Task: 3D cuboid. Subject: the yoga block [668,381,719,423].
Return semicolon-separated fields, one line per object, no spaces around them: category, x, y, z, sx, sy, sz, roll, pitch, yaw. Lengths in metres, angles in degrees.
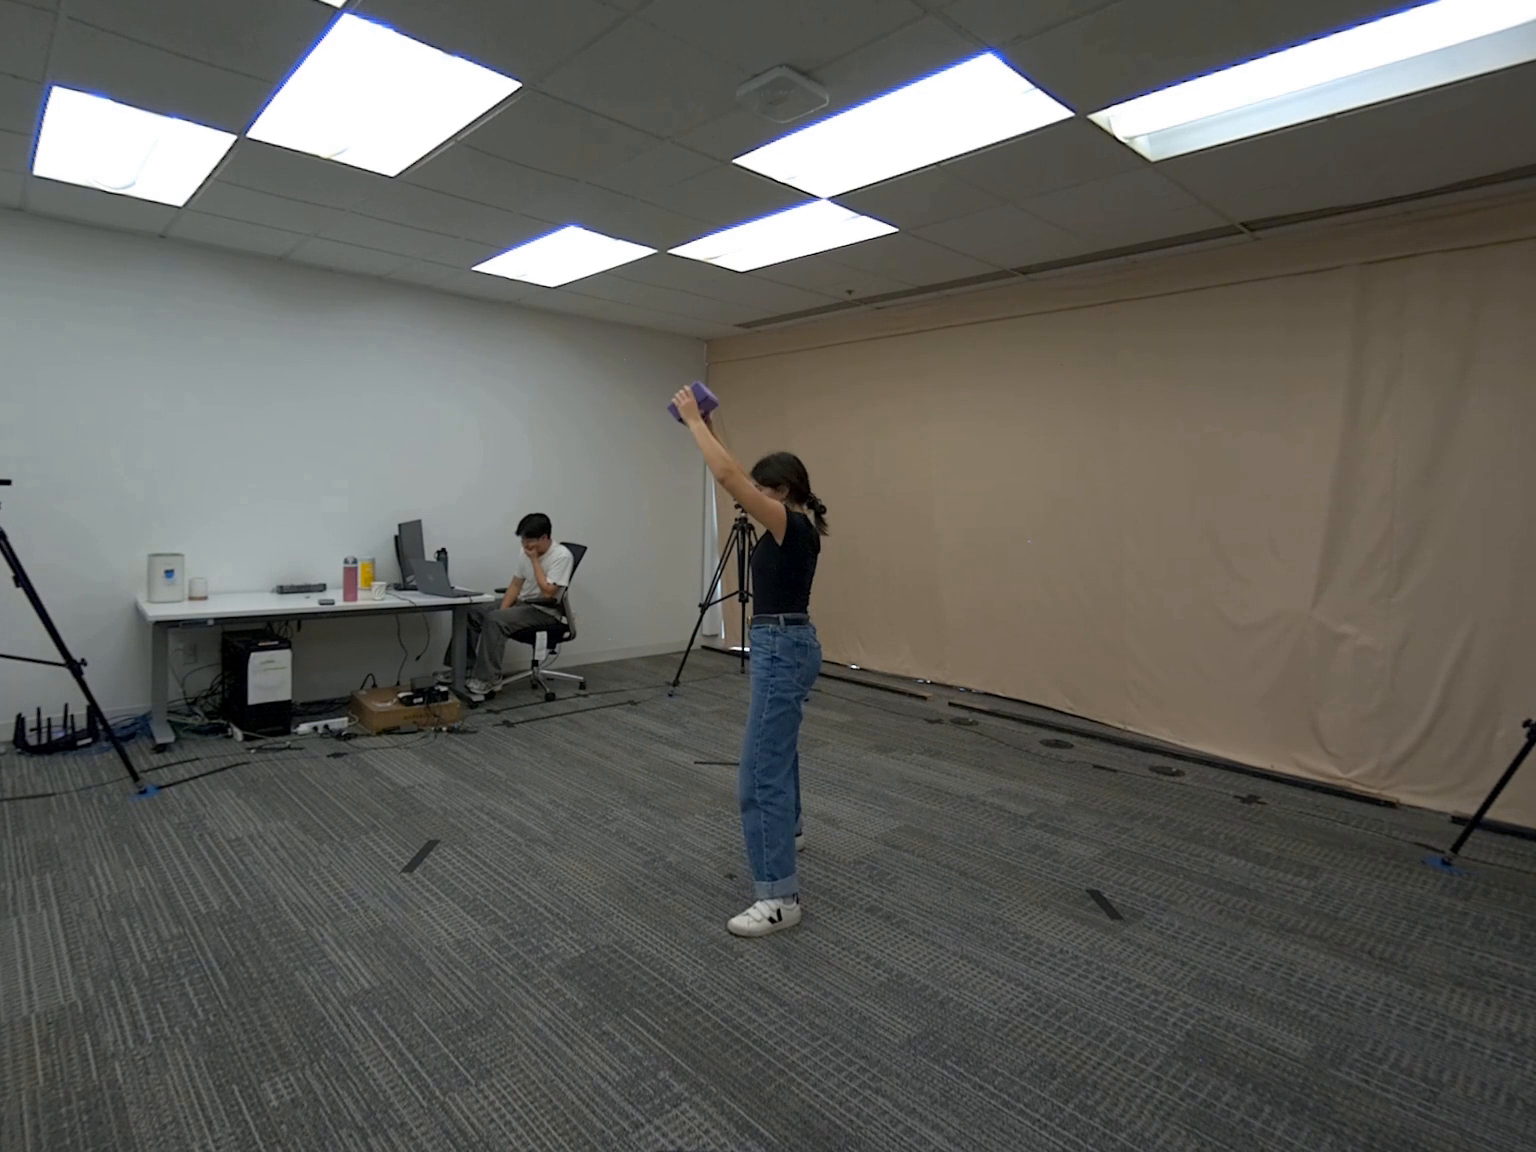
yoga block;-0.285;-0.614;3.080;0.149;0.077;0.228;-42;-1;7
